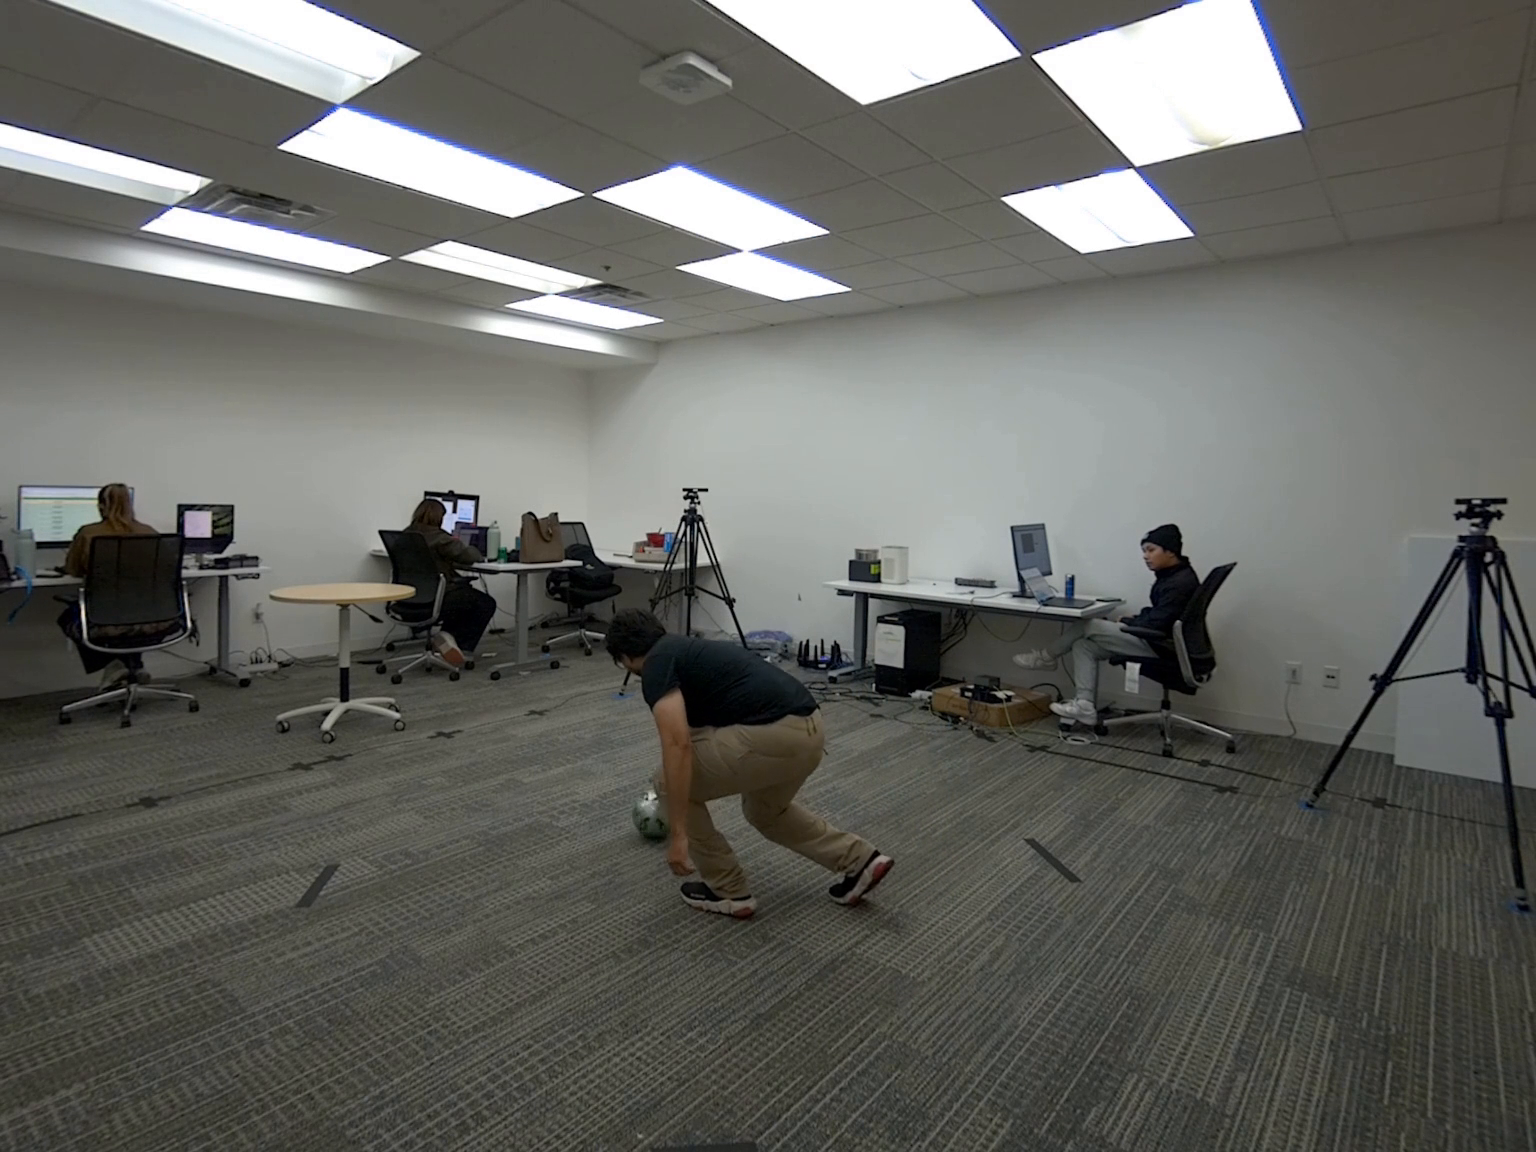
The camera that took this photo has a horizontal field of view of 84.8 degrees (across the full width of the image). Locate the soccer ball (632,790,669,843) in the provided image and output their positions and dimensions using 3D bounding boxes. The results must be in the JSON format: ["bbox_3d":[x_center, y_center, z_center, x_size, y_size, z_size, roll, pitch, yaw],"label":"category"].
[{"bbox_3d":[-0.456,0.942,3.387,0.187,0.187,0.188,1,4,-2],"label":"soccer ball"}]
